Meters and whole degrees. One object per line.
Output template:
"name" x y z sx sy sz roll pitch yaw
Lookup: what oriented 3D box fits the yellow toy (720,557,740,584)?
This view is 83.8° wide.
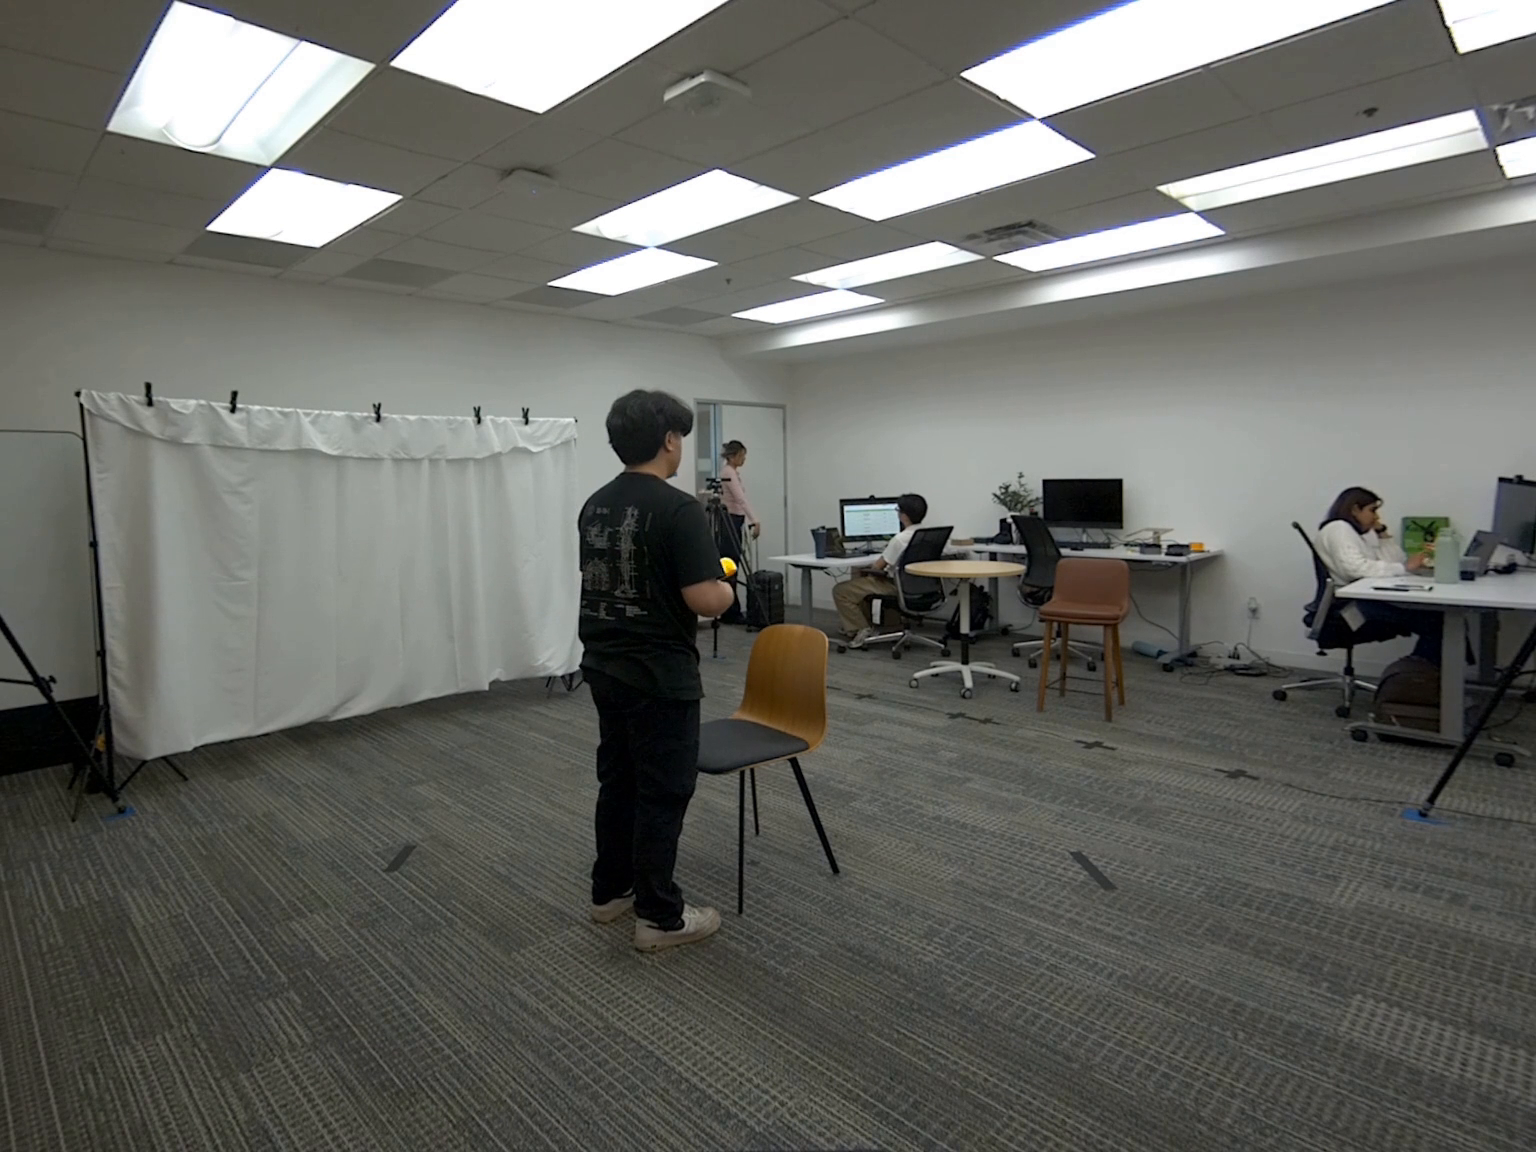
"yellow toy" -0.237 -0.082 2.838 0.201 0.233 0.194 -18 -8 -28
